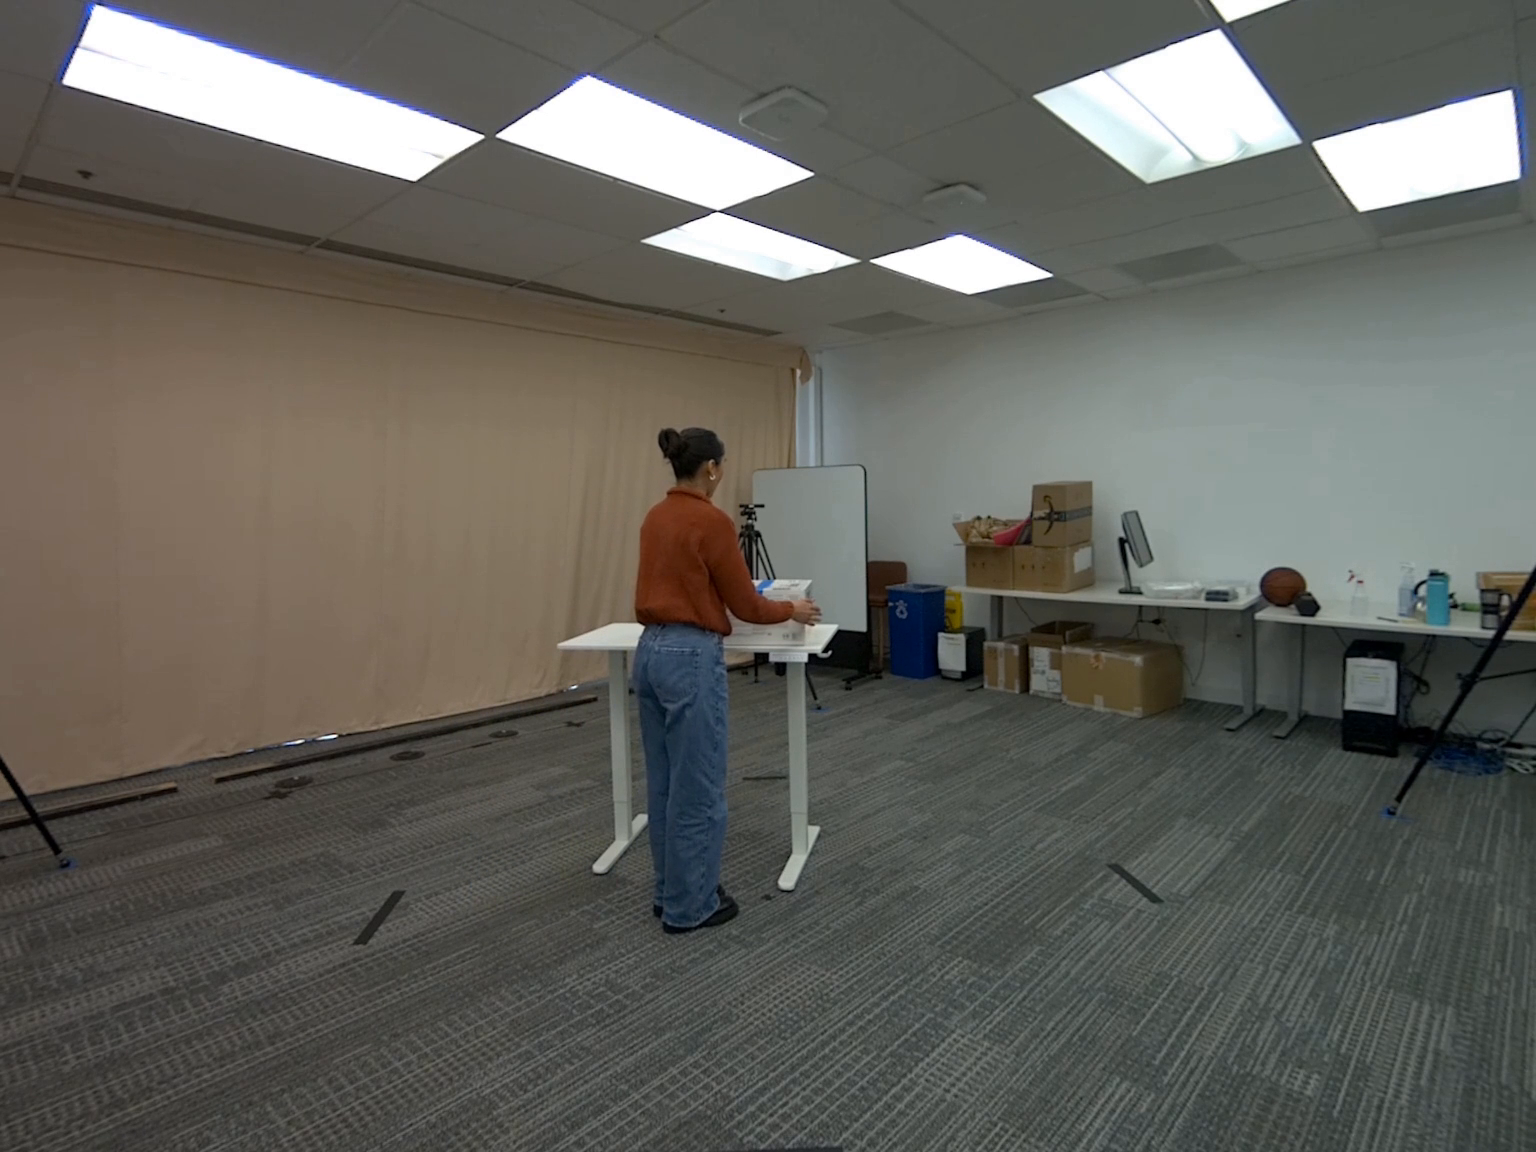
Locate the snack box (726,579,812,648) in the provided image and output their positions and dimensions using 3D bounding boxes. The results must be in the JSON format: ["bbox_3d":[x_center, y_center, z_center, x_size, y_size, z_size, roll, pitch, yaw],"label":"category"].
[{"bbox_3d":[-0.008,0.133,3.225,0.344,0.205,0.402,-2,5,9],"label":"snack box"}]
